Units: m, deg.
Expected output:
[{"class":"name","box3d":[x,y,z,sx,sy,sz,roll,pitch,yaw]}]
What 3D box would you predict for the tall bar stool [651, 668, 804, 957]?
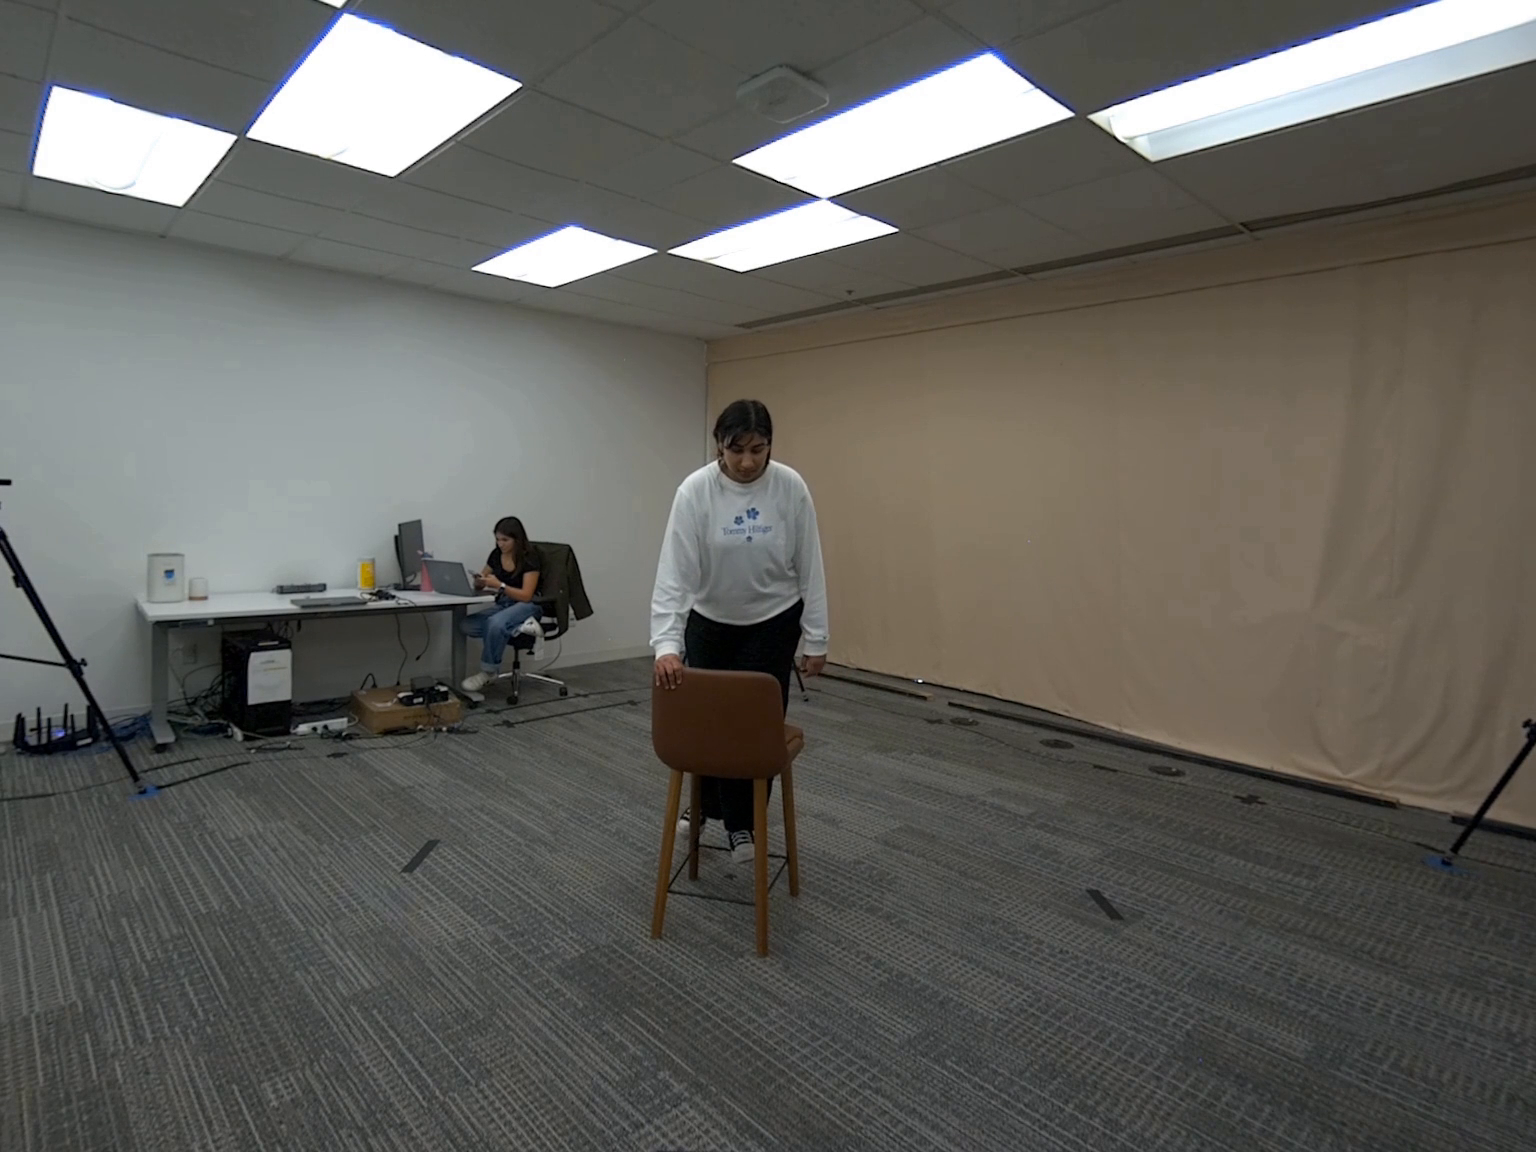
[{"class":"tall bar stool","box3d":[-0.141,0.705,2.782,0.462,0.886,0.463,2,5,16]}]
